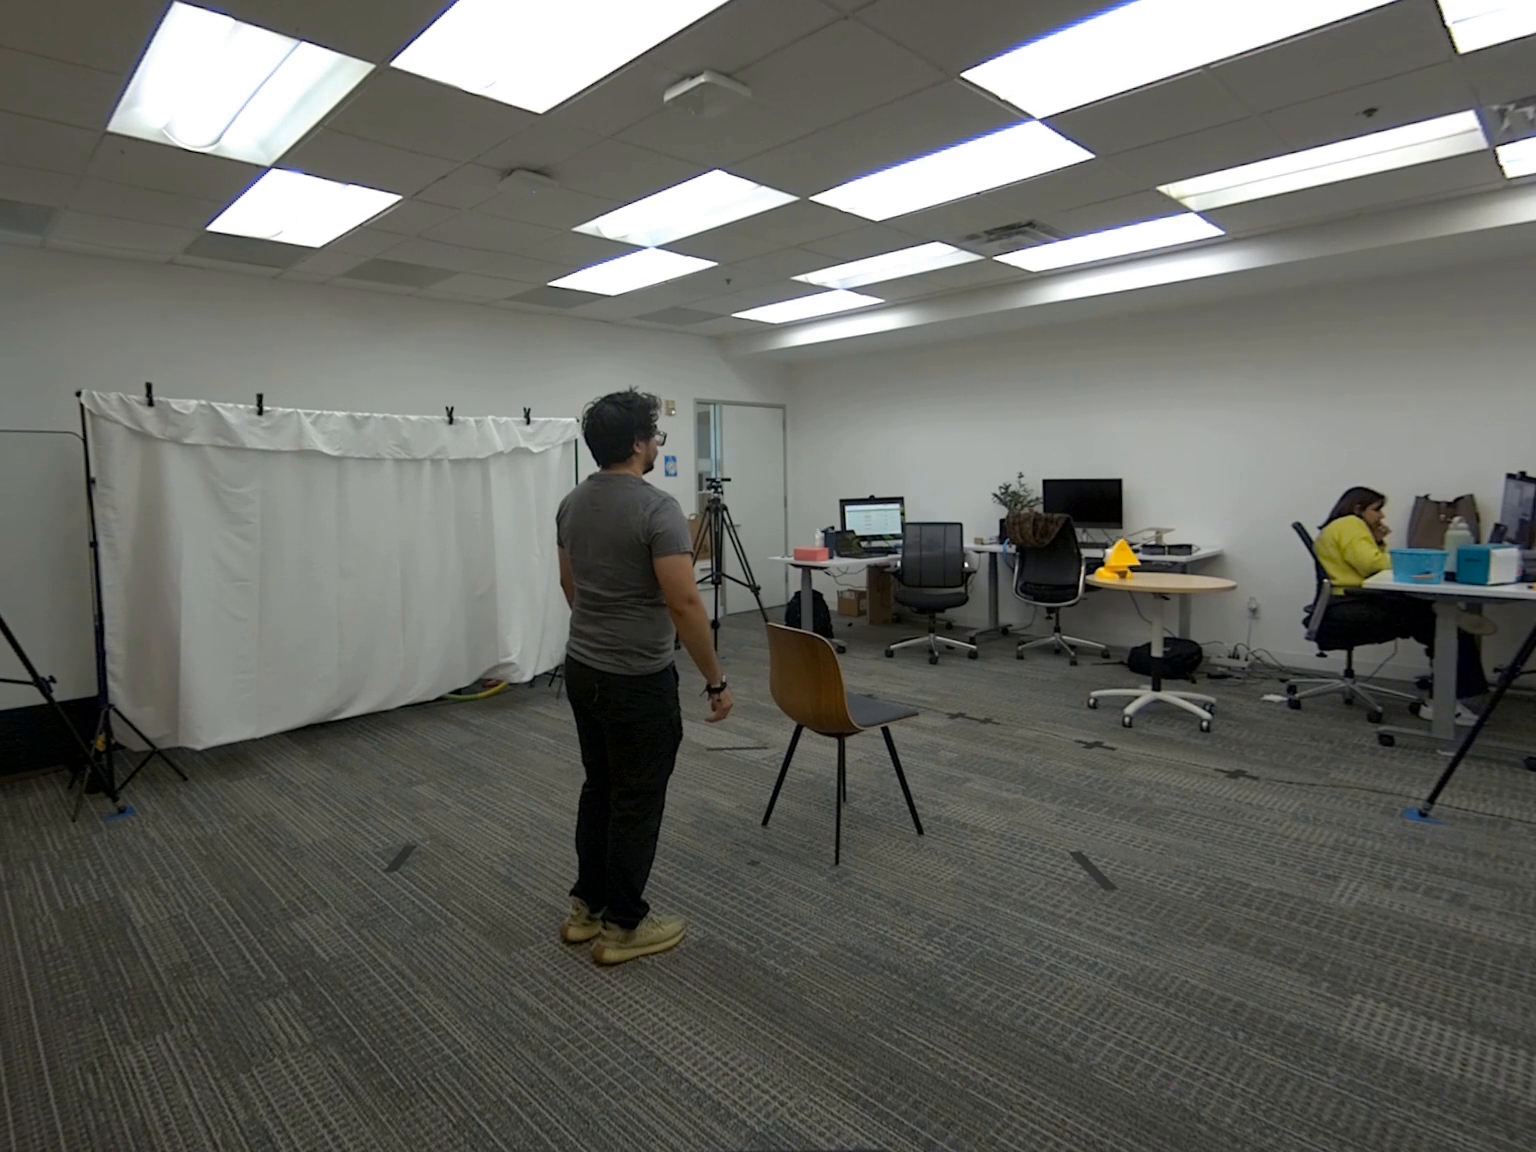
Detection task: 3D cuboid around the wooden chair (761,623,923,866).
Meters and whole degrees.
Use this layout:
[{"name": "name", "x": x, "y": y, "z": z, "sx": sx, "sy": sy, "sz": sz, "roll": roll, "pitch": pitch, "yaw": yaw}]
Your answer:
[{"name": "wooden chair", "x": 0.291, "y": 0.582, "z": 3.352, "sx": 0.511, "sy": 0.872, "sz": 0.492, "roll": -9, "pitch": 8, "yaw": -36}]
